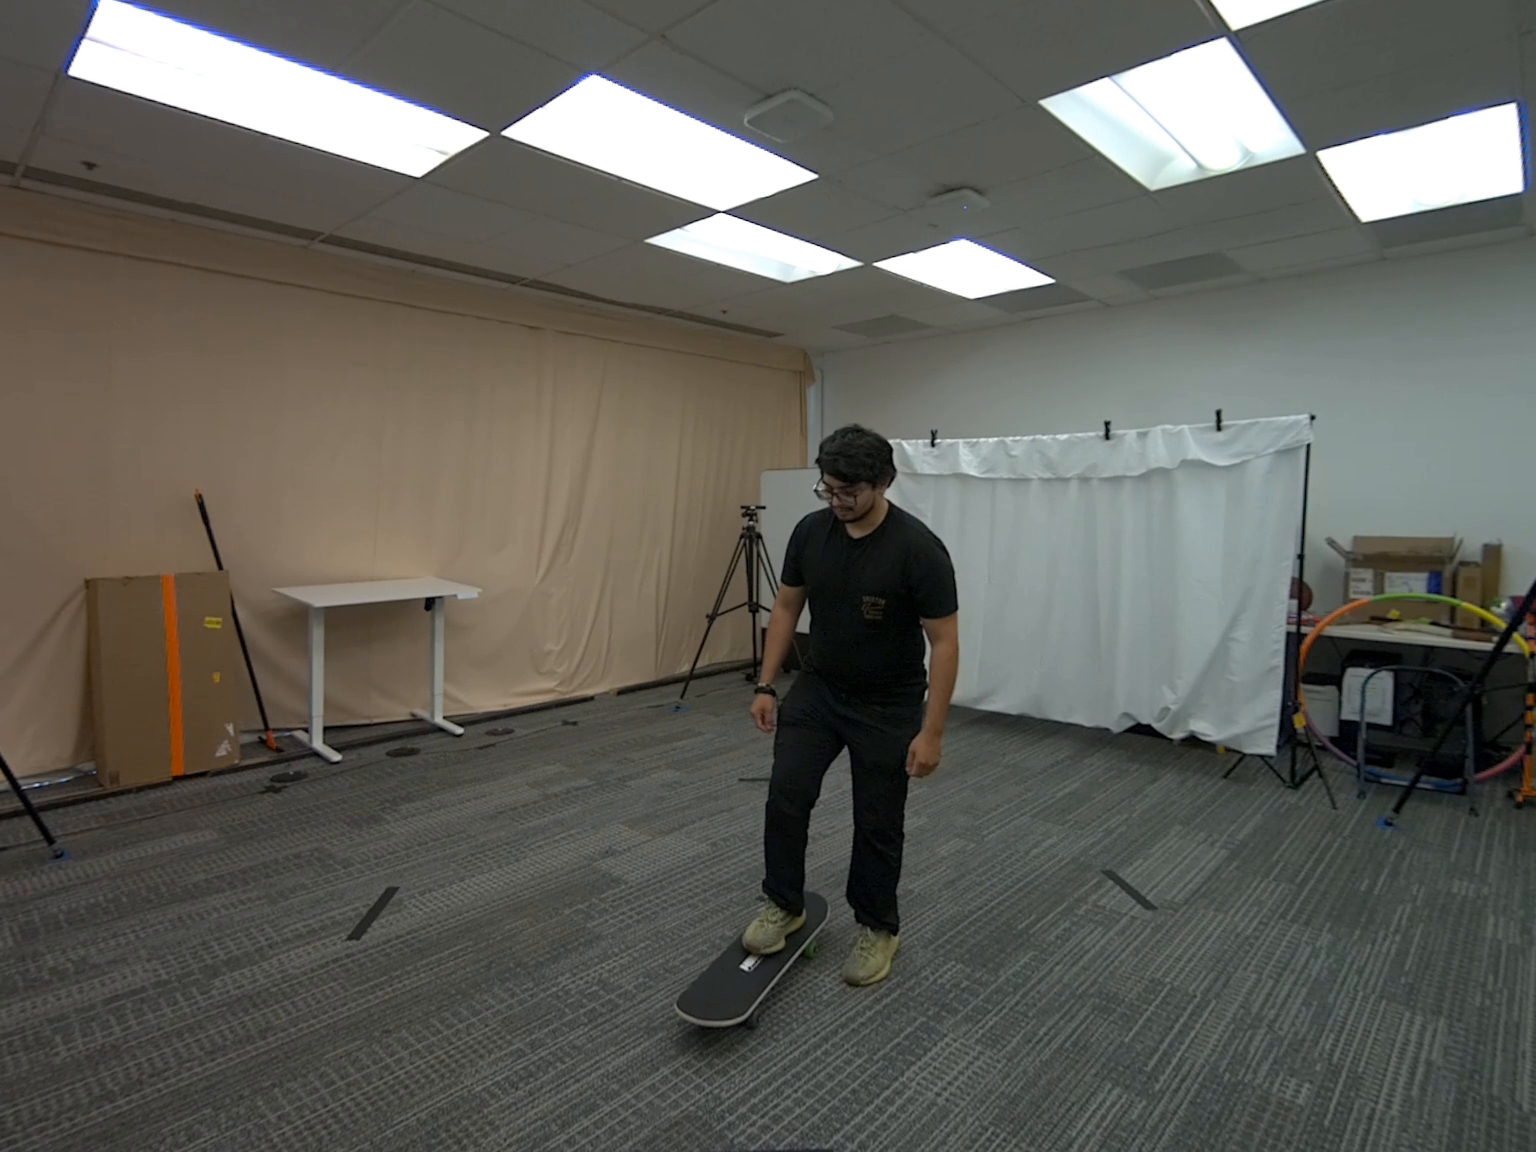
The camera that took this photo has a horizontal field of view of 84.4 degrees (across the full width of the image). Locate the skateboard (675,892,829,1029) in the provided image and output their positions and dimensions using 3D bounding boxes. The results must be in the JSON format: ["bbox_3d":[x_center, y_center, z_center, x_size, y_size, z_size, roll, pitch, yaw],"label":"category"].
[{"bbox_3d":[-0.016,1.134,2.457,0.199,0.110,0.766,4,6,26],"label":"skateboard"}]
